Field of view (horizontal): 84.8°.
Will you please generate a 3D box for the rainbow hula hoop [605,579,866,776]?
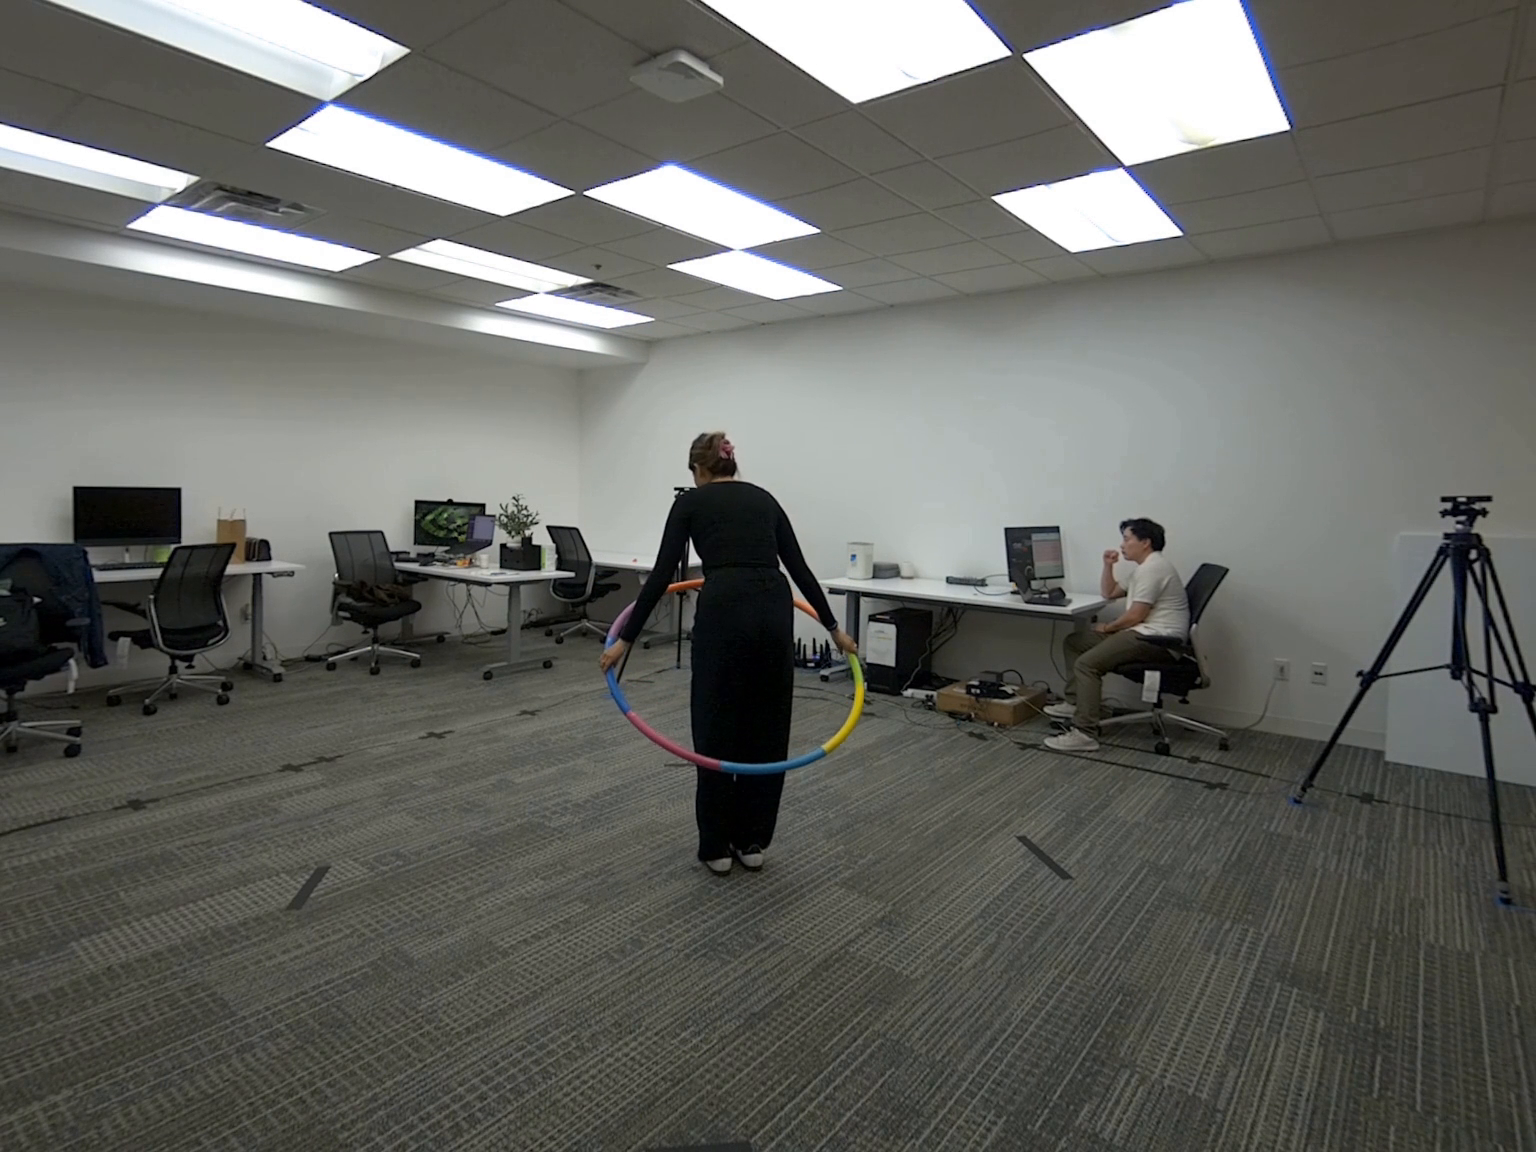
[{"bbox_3d":[-0.126,0.325,3.172,0.973,0.035,1.007,5,37,-6],"label":"rainbow hula hoop"}]
